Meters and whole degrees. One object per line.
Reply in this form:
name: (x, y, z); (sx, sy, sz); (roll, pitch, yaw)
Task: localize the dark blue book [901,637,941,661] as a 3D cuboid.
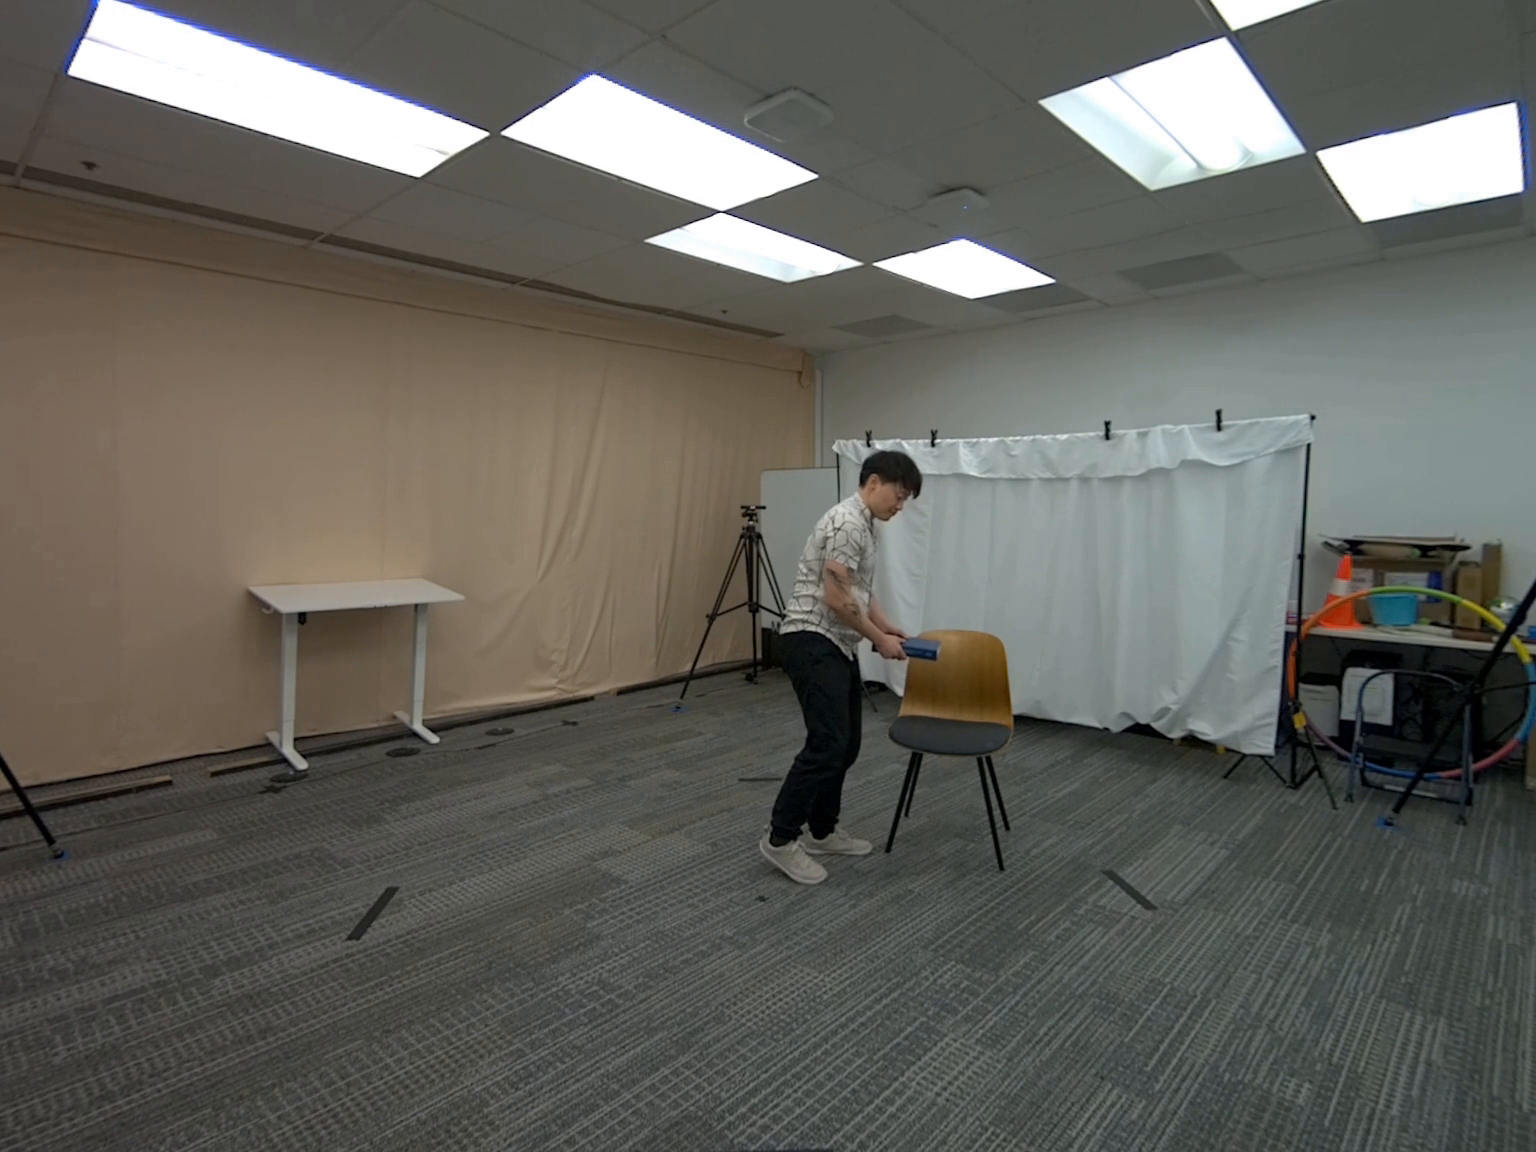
dark blue book: (0.570, 0.285, 3.242); (0.249, 0.045, 0.161); (4, 9, 15)
